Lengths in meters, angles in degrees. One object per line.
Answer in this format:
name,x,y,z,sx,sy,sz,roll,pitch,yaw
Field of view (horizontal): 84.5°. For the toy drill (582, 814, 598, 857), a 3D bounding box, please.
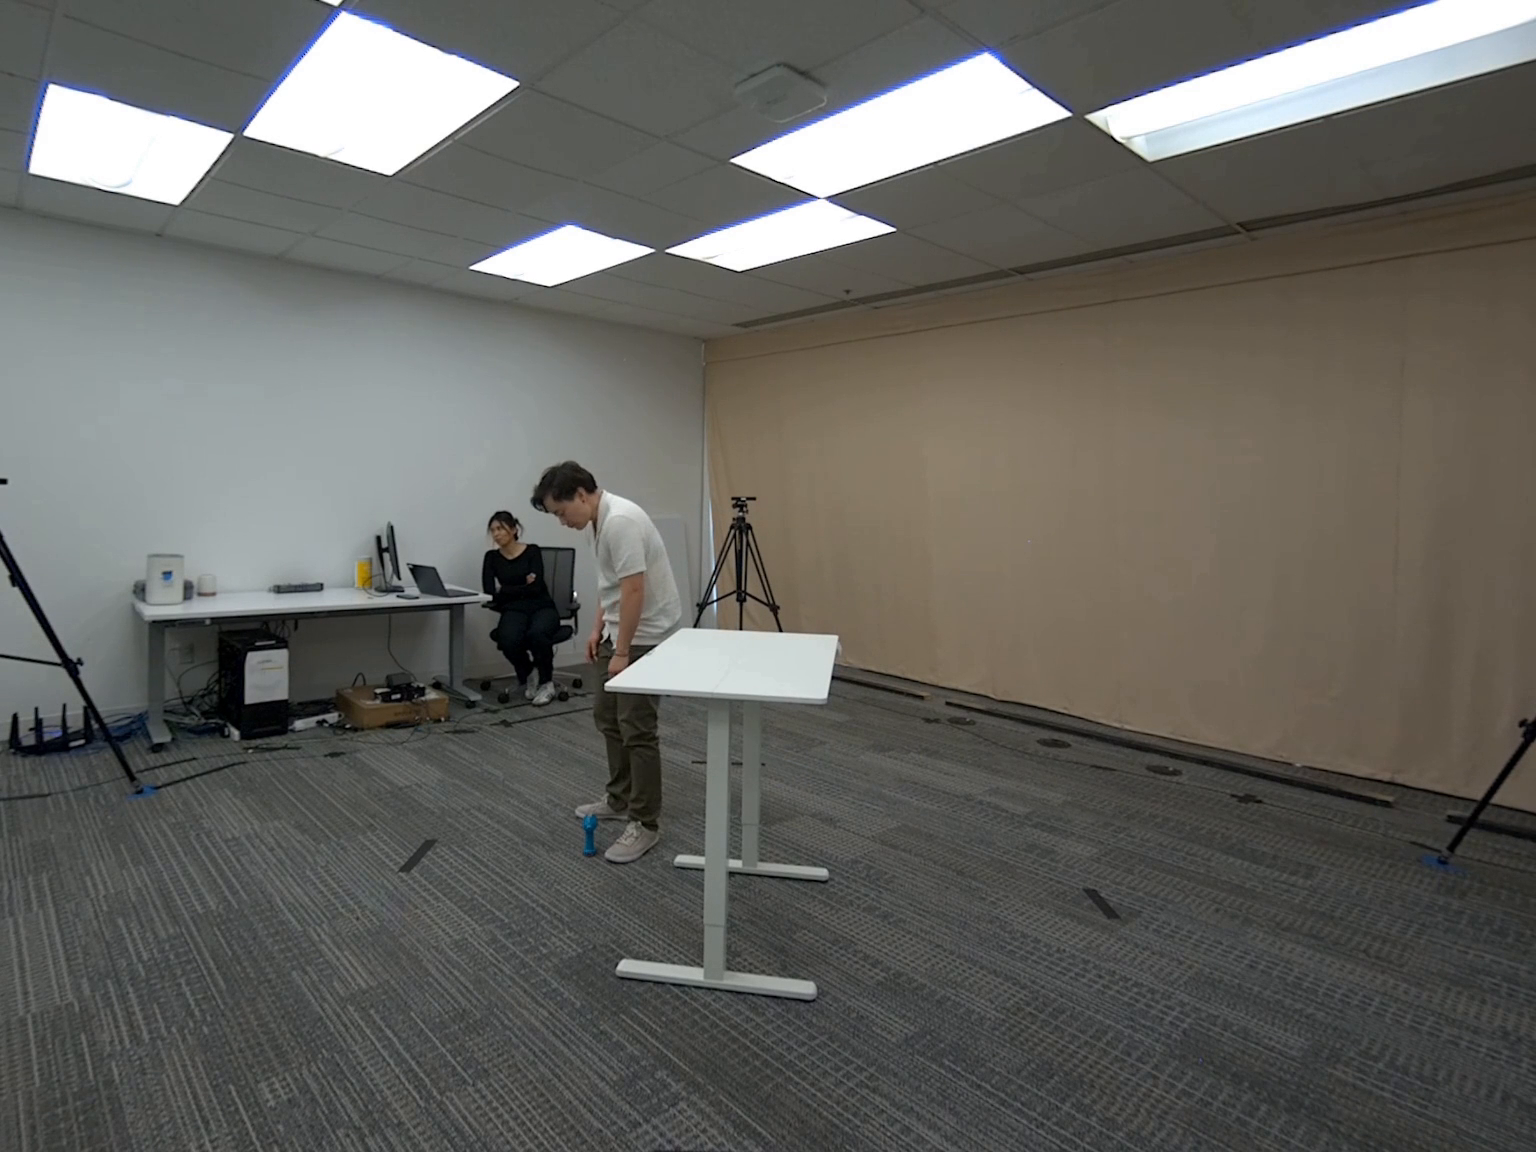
toy drill,-0.709,1.006,3.306,0.061,0.145,0.171,2,4,-5
